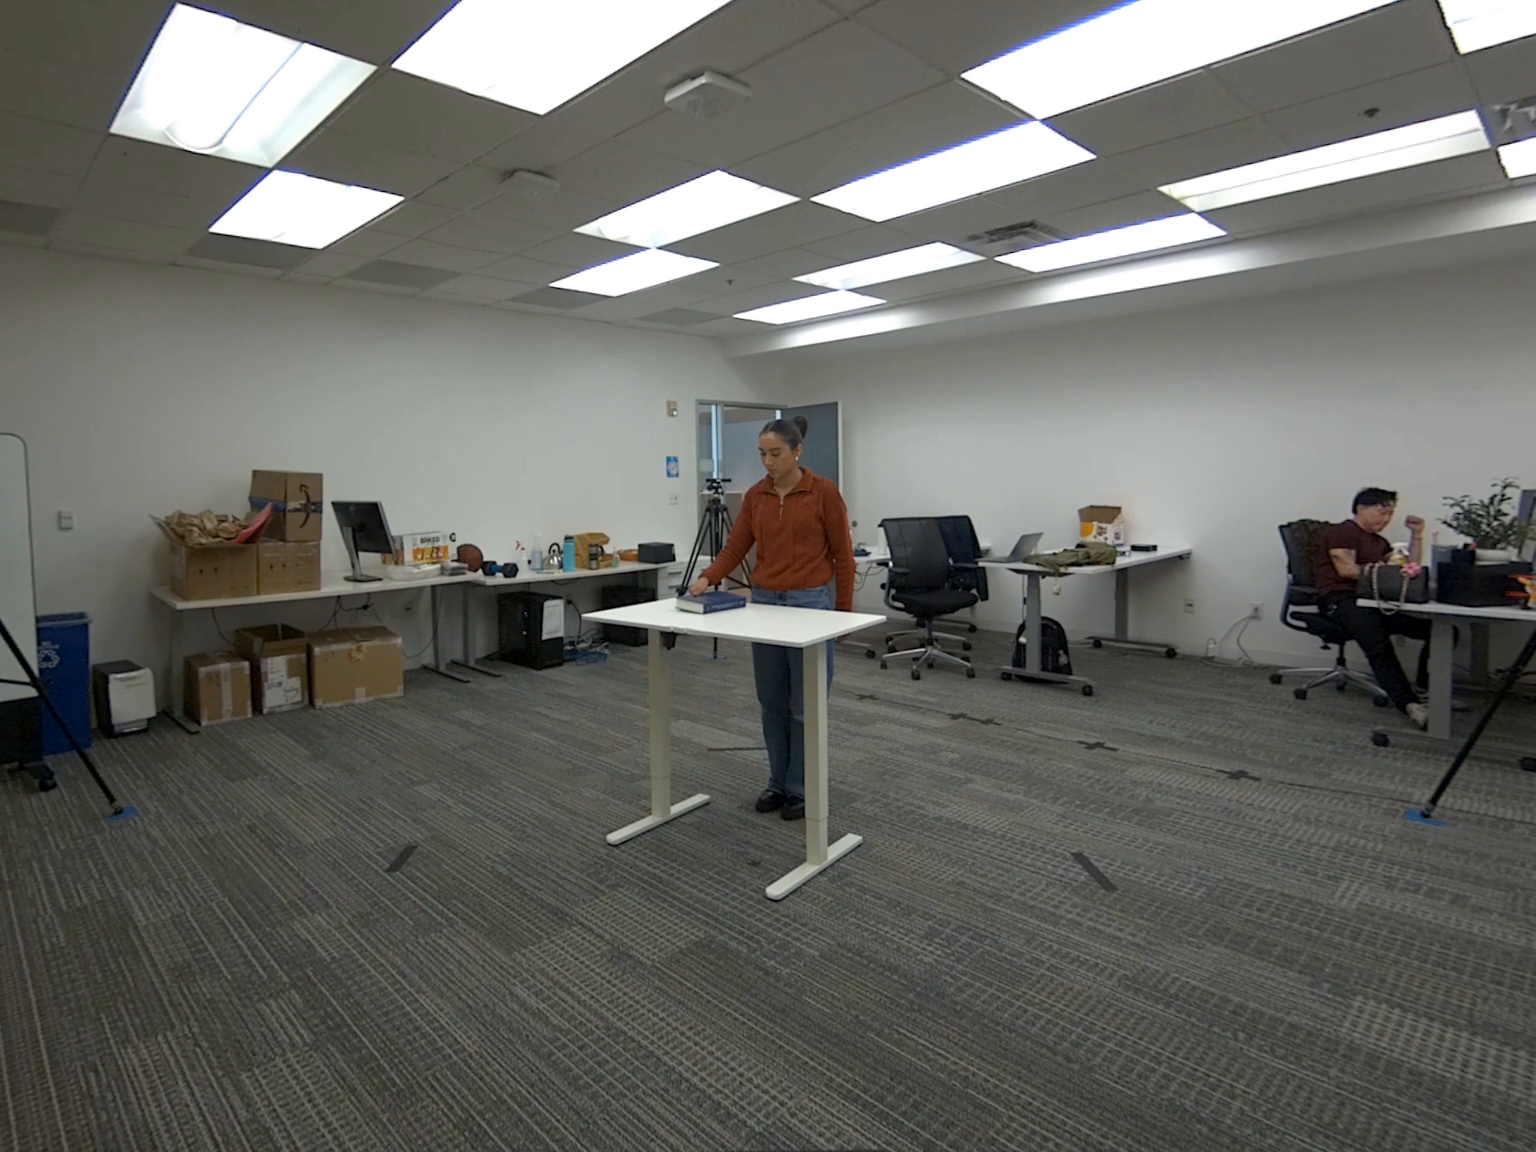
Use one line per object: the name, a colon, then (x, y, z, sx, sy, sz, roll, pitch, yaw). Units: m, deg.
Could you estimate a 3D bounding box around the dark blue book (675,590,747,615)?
dark blue book: (-0.211, 0.110, 3.403, 0.169, 0.045, 0.239, 8, 11, 42)
